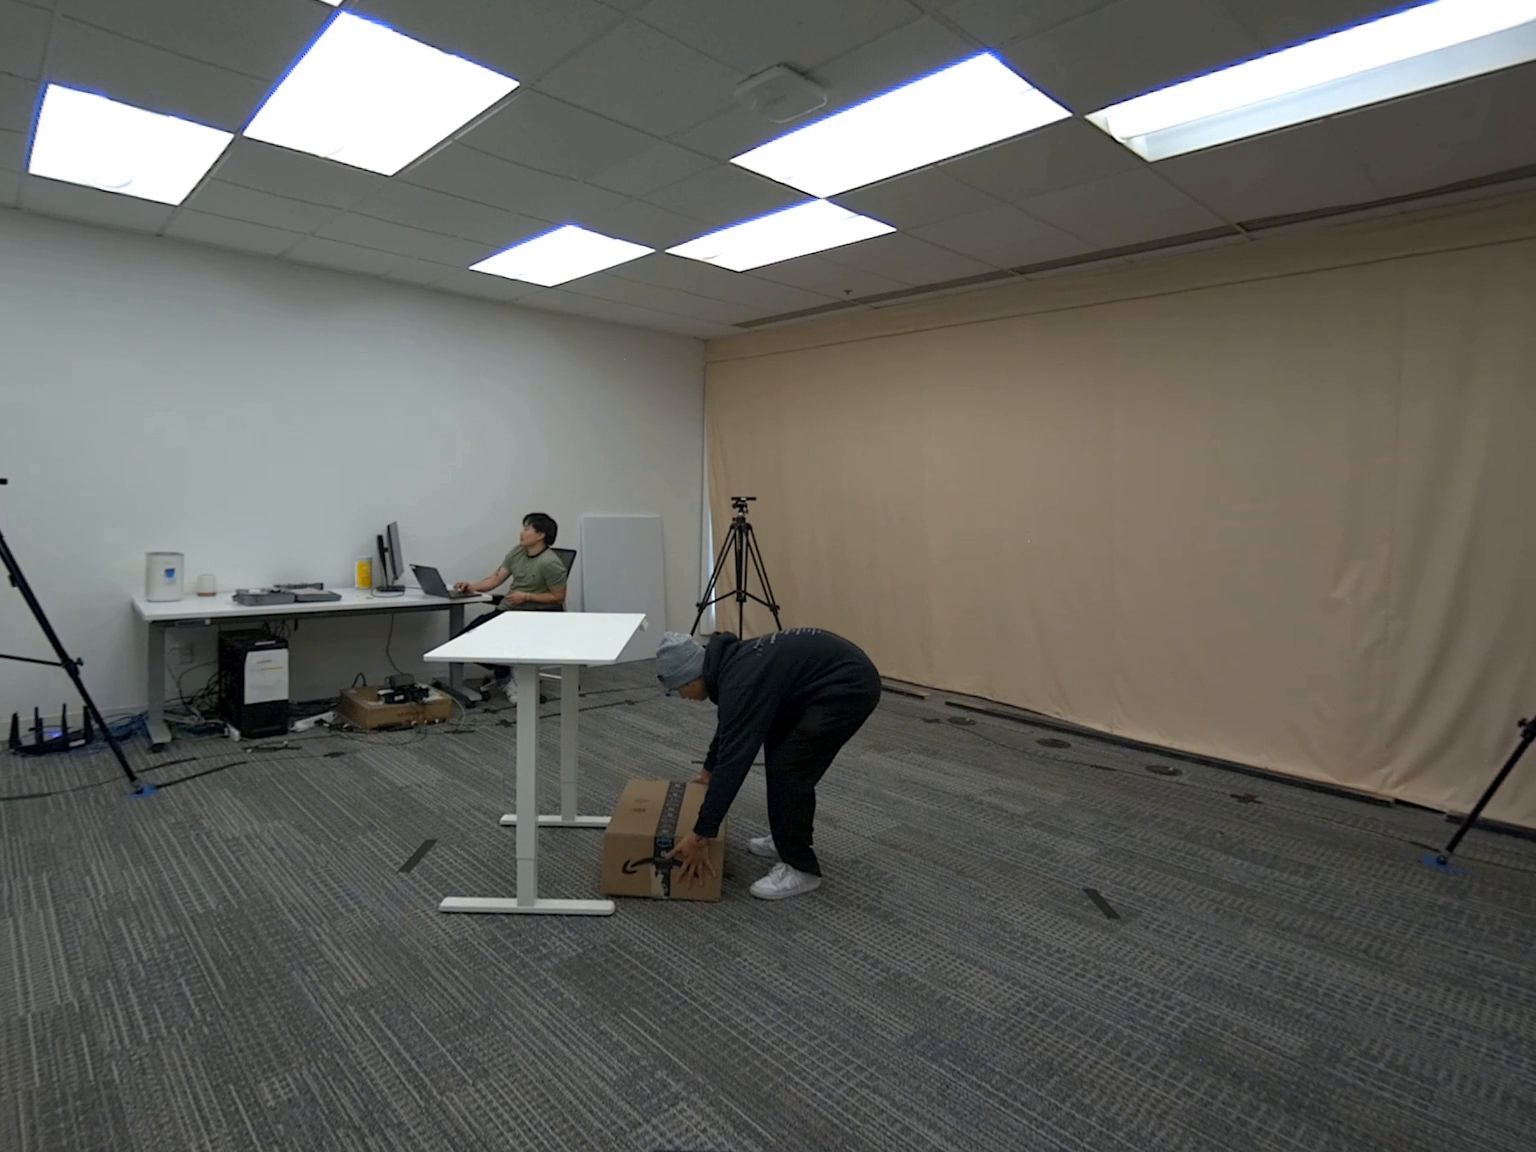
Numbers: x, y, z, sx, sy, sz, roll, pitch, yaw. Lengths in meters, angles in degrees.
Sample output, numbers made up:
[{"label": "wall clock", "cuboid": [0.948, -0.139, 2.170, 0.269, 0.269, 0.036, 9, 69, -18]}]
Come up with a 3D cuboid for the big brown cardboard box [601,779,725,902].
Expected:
[{"label": "big brown cardboard box", "cuboid": [-0.377, 0.975, 3.177, 0.418, 0.232, 0.590, 4, 4, 0]}]
